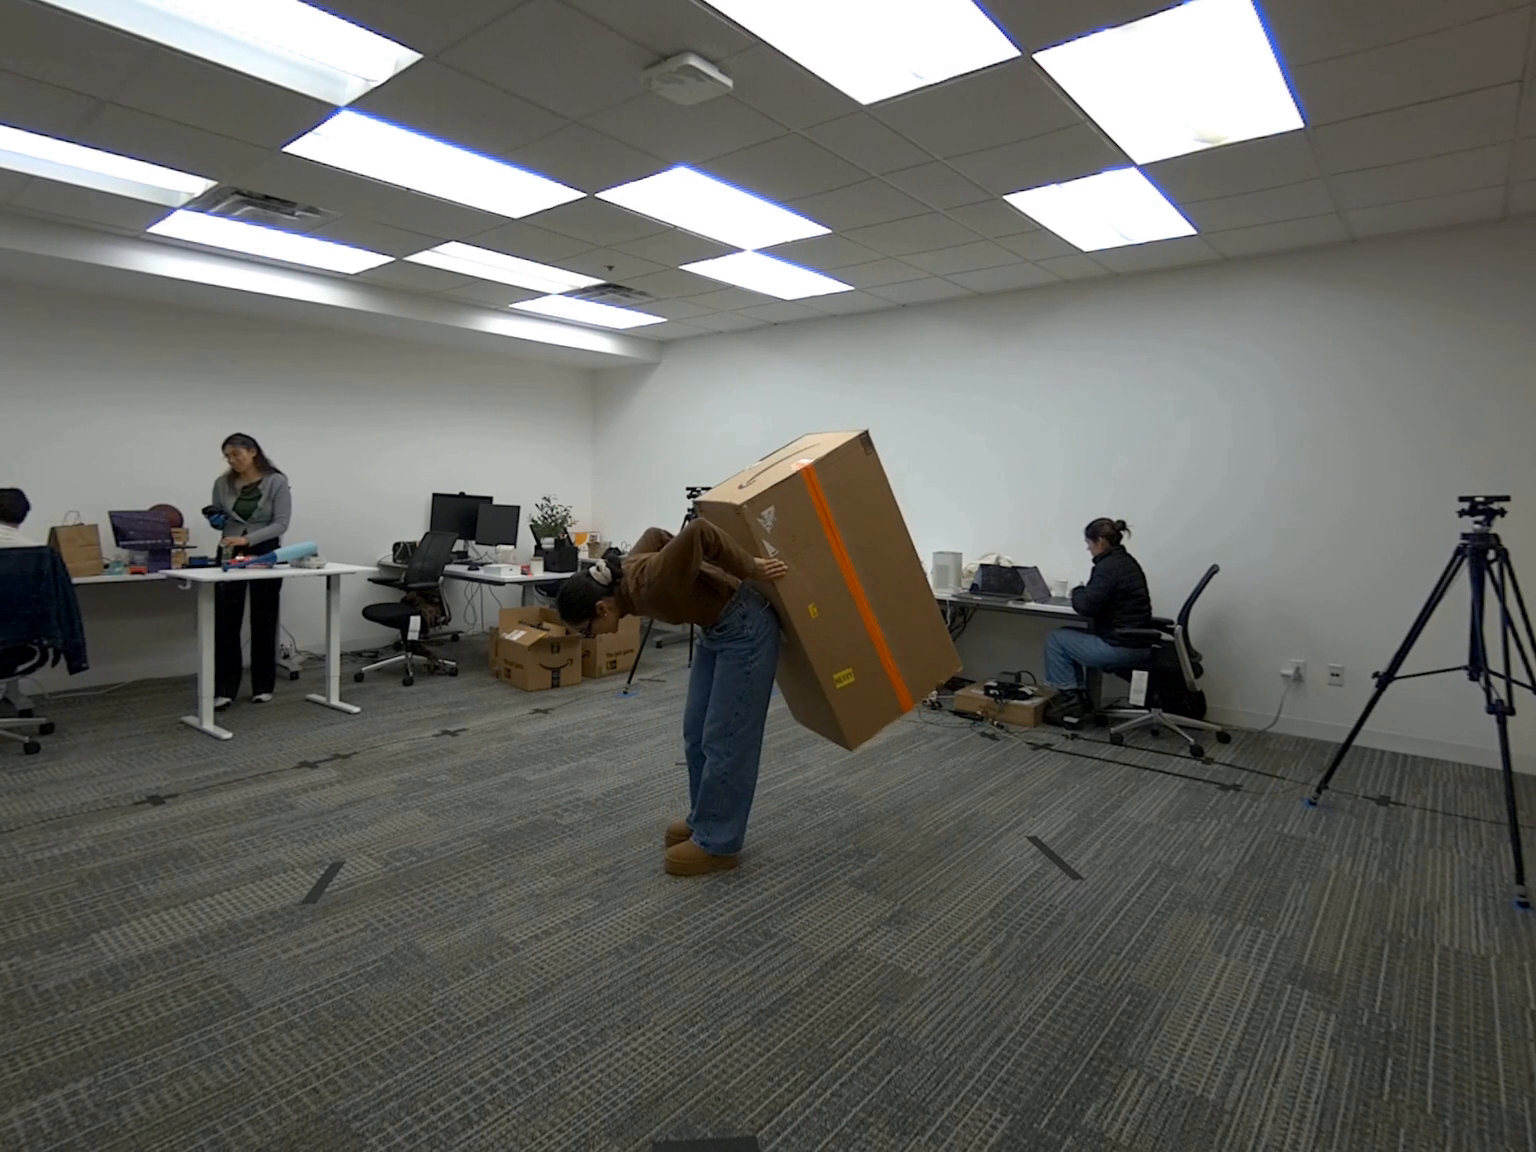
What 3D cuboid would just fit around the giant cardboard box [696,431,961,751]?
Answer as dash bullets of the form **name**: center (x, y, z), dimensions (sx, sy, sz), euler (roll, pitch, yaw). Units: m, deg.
- **giant cardboard box**: center (0.222, 0.035, 3.254), dimensions (0.579, 1.008, 0.459), euler (-31, 16, -21)
